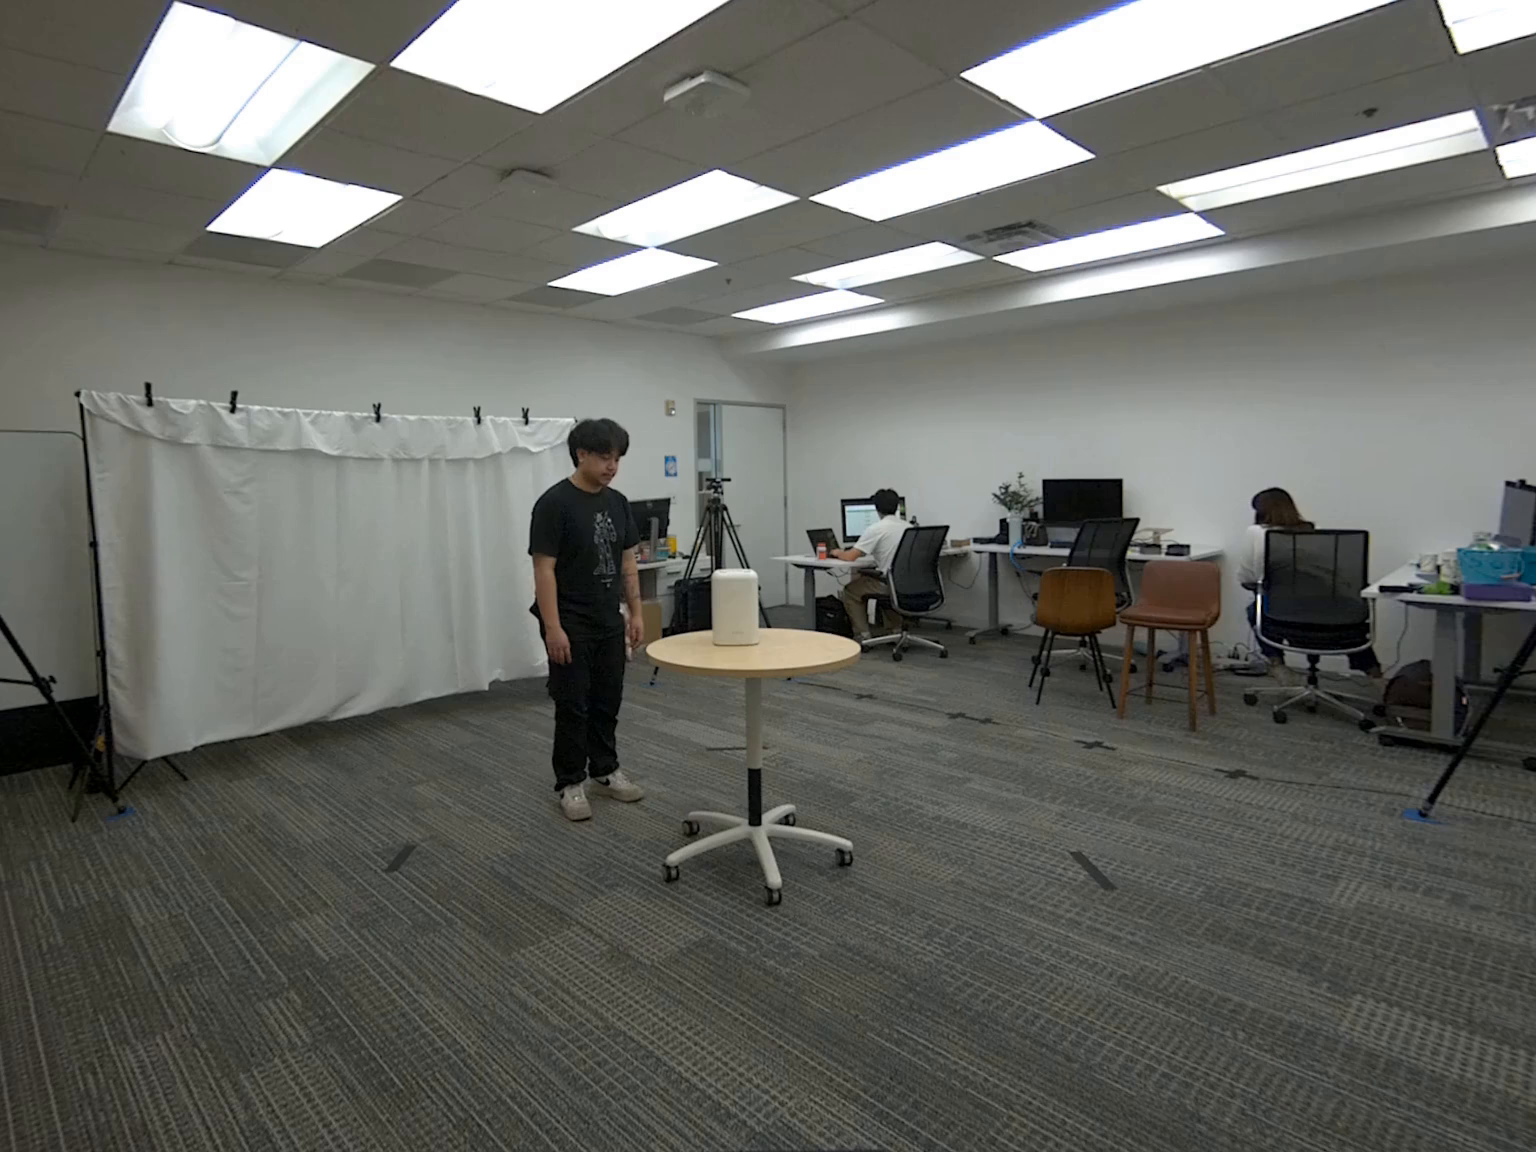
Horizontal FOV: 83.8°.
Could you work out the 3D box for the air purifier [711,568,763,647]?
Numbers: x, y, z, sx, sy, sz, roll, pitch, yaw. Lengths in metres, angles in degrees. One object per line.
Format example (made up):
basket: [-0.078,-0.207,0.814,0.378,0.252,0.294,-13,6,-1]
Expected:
air purifier: [-0.117,0.112,3.159,0.171,0.265,0.172,0,3,-1]
